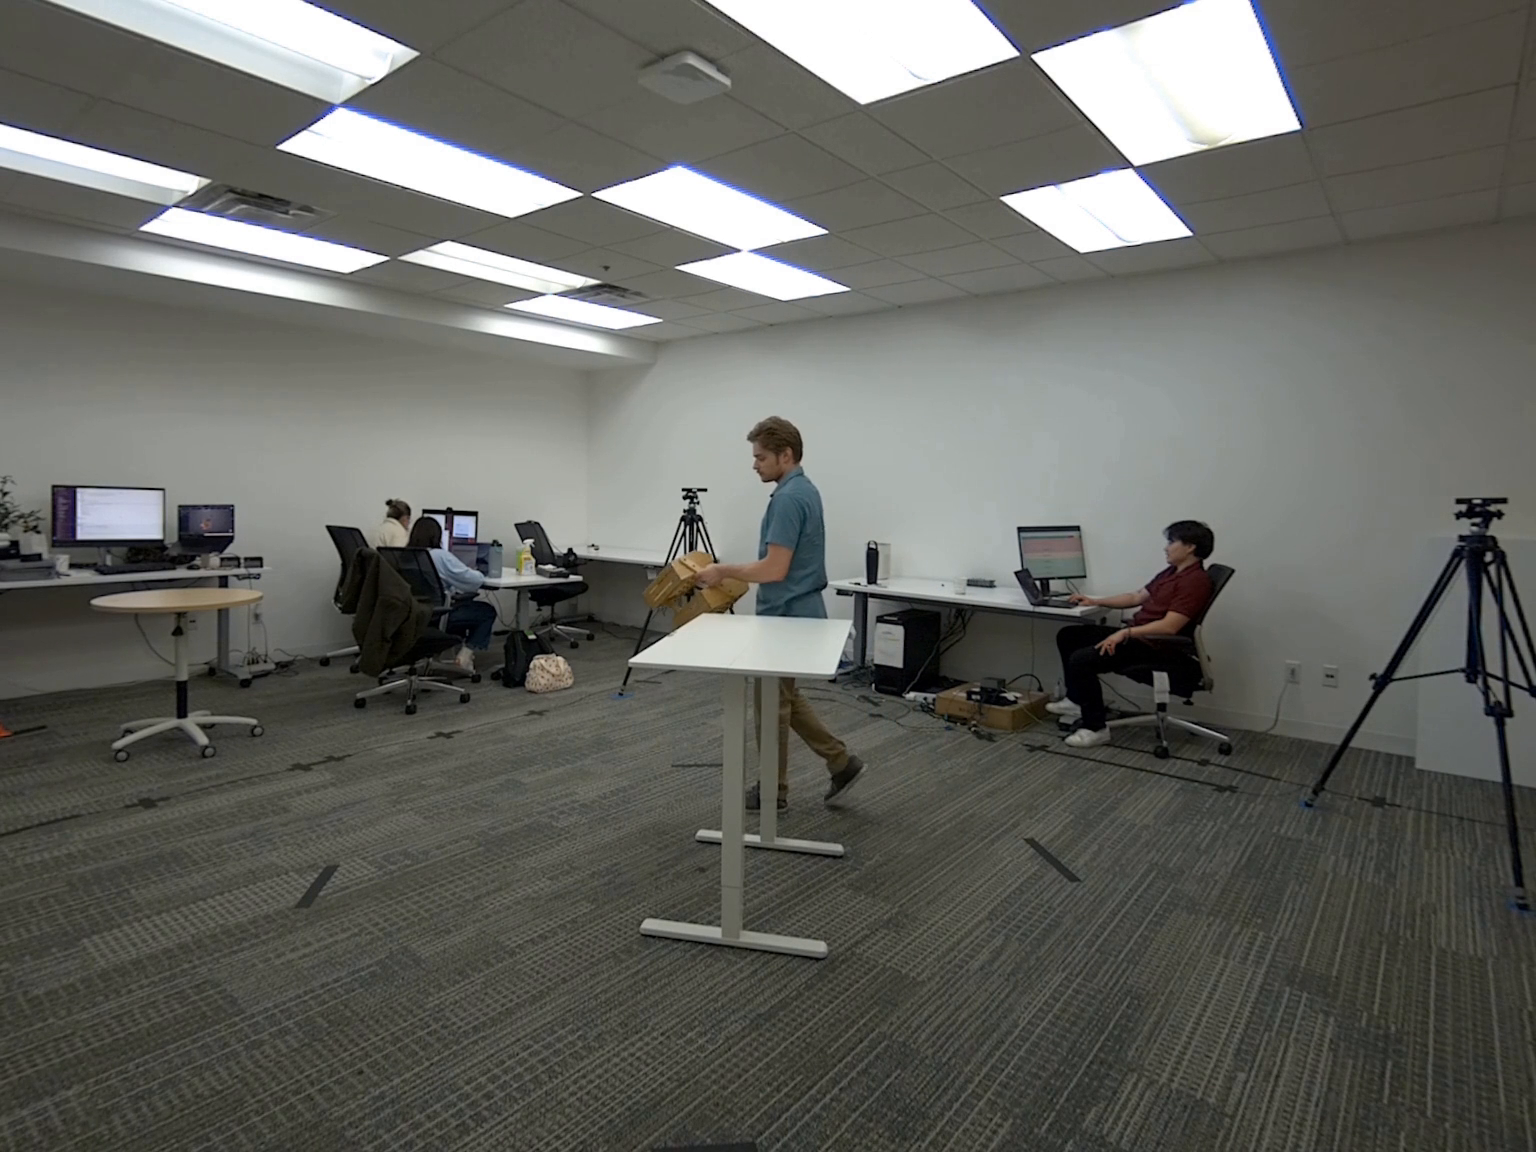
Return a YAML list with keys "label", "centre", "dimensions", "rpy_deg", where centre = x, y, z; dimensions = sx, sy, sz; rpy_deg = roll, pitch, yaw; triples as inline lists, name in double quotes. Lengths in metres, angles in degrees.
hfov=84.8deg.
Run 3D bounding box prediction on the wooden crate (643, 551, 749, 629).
- label: "wooden crate"
  centre: [-0.321, 0.056, 3.718]
  dimensions: [0.297, 0.277, 0.325]
  rpy_deg: [-26, -12, -41]
